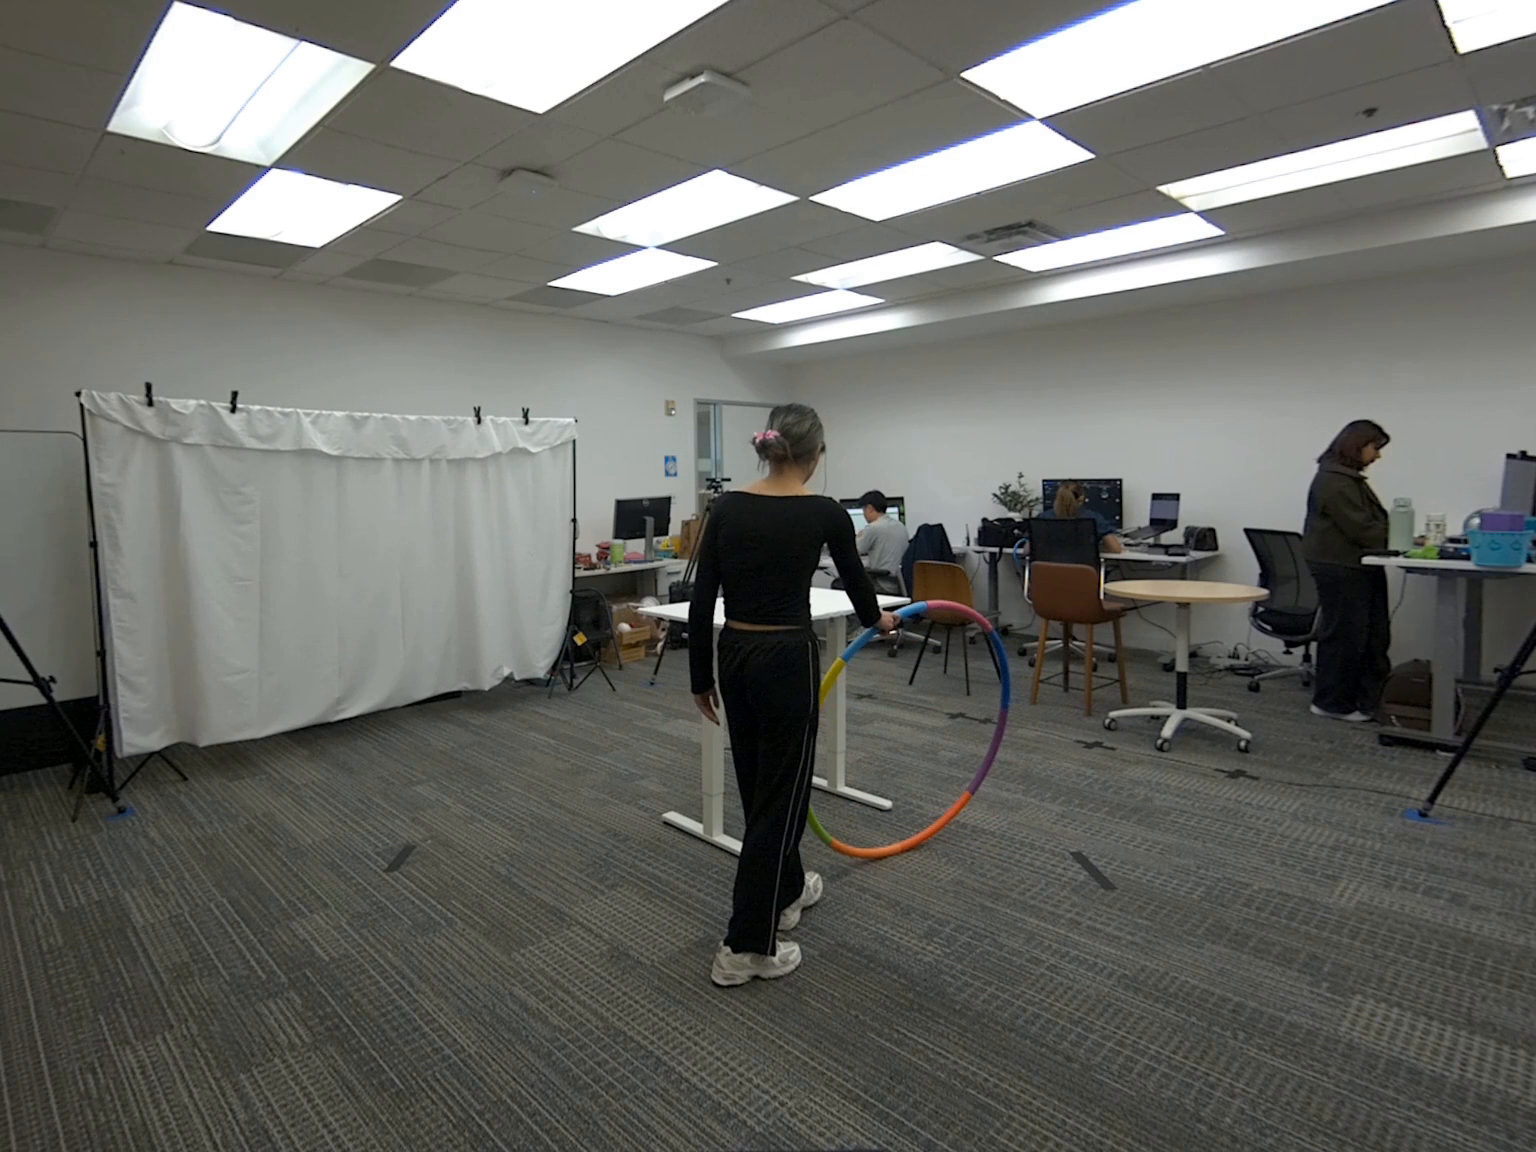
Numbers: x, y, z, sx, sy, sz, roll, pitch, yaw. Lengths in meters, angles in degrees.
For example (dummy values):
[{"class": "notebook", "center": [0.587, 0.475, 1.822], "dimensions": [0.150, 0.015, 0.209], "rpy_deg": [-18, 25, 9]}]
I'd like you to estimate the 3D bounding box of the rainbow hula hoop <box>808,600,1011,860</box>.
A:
[{"class": "rainbow hula hoop", "center": [0.511, 0.556, 3.056], "dimensions": [0.955, 0.968, 0.037], "rpy_deg": [-4, 16, -31]}]
